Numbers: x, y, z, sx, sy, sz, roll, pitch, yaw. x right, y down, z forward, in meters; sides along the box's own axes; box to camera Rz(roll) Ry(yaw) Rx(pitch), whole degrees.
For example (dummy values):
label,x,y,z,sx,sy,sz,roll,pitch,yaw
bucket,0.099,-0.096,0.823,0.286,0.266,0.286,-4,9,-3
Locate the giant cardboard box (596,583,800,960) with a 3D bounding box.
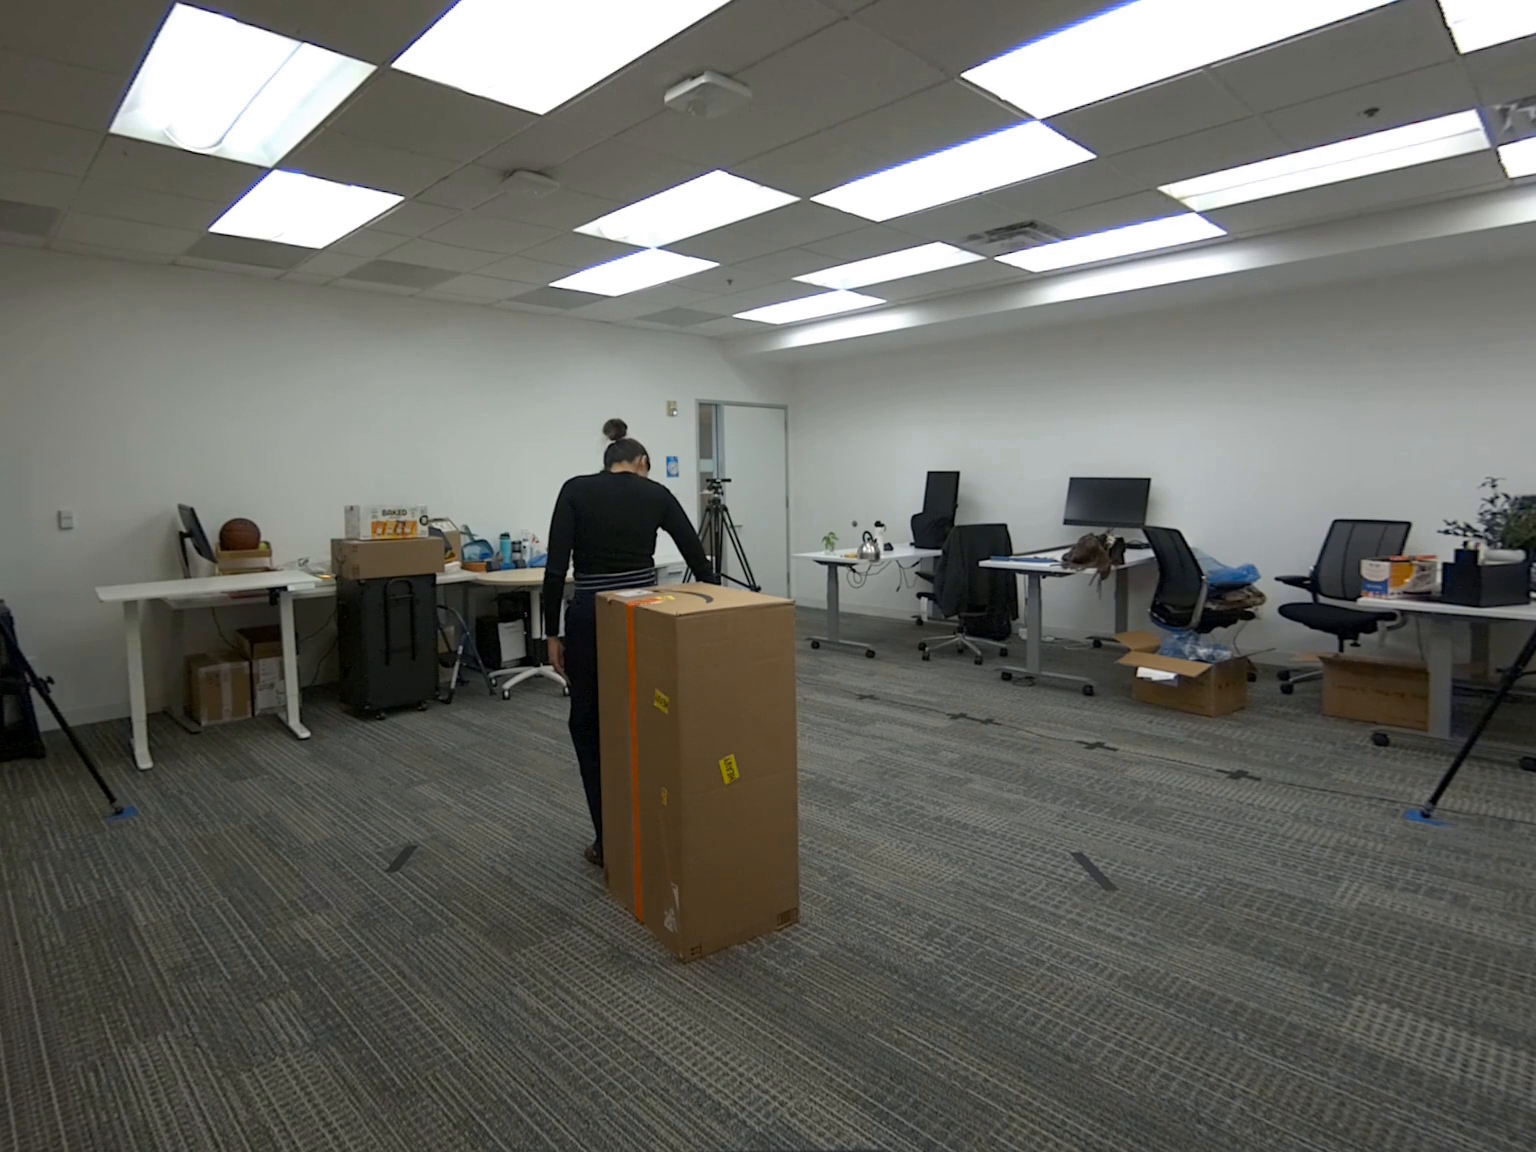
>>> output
label,x,y,z,sx,sy,sz,roll,pitch,yaw
giant cardboard box,-0.235,0.576,2.781,0.416,1.022,0.594,-4,5,-33
